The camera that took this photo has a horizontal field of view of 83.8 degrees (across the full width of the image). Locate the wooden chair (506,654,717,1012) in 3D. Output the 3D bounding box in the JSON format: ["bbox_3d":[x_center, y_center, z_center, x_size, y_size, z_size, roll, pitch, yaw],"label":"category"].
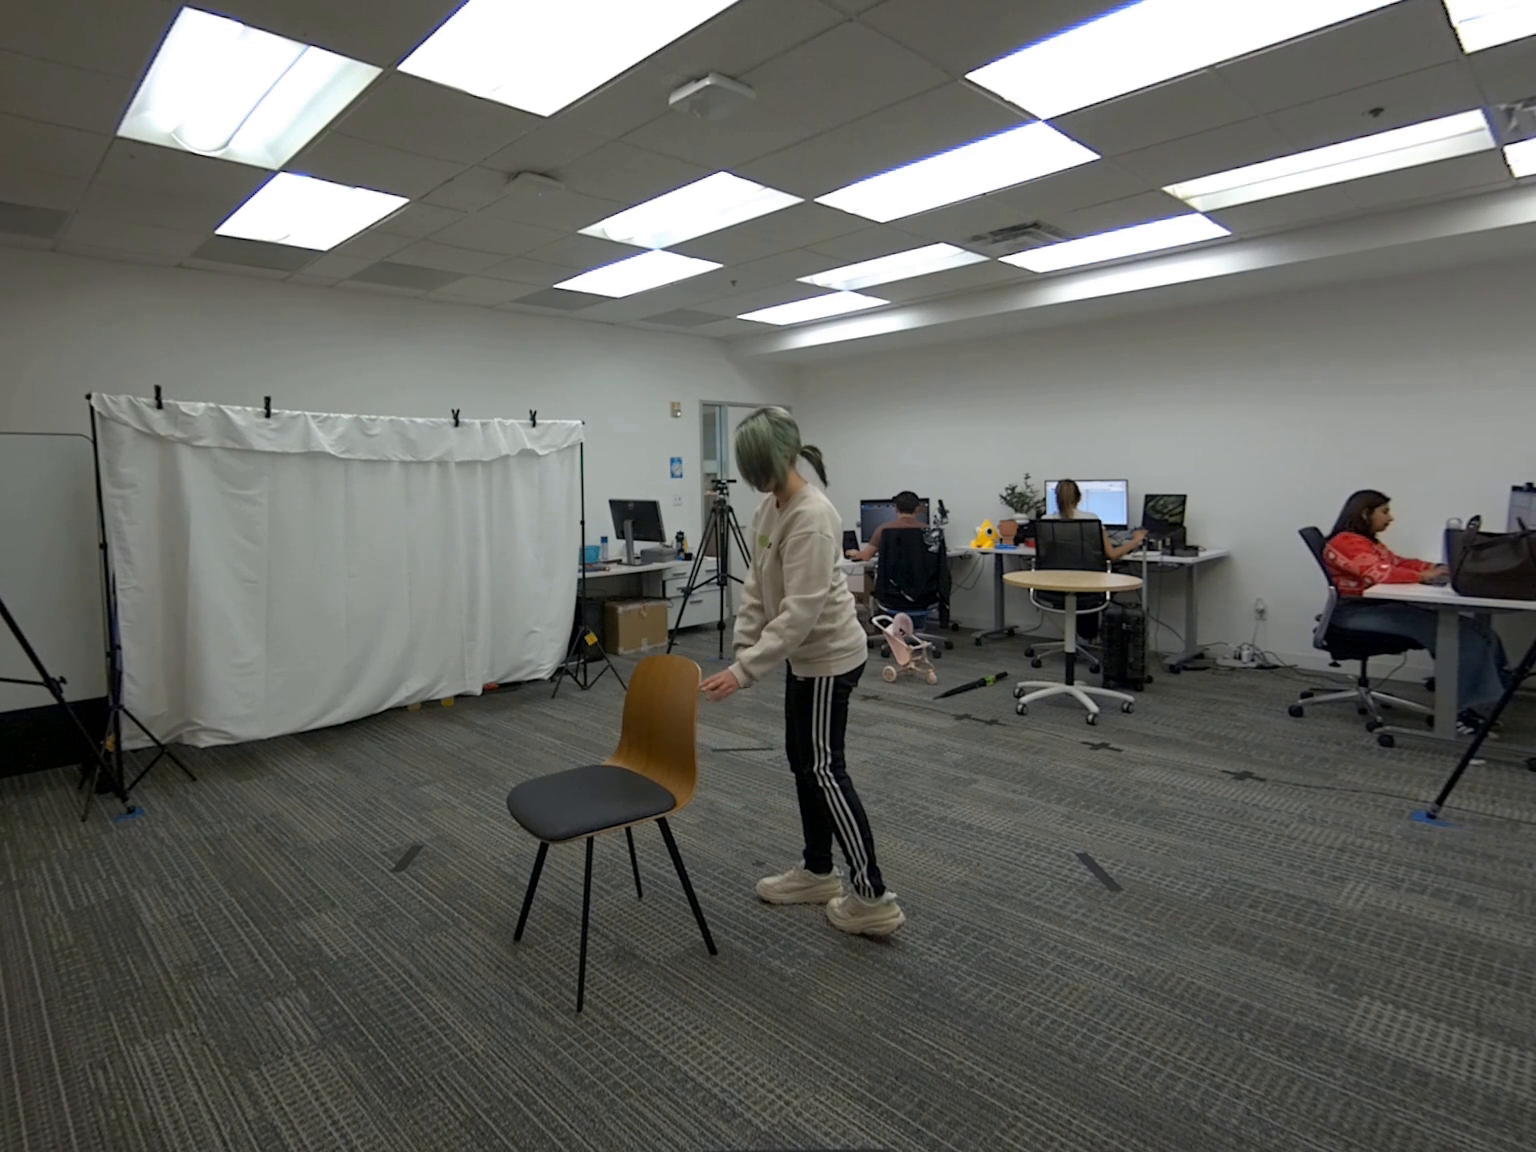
[{"bbox_3d":[-0.475,0.696,2.528,0.508,0.876,0.492,1,3,-37],"label":"wooden chair"}]
